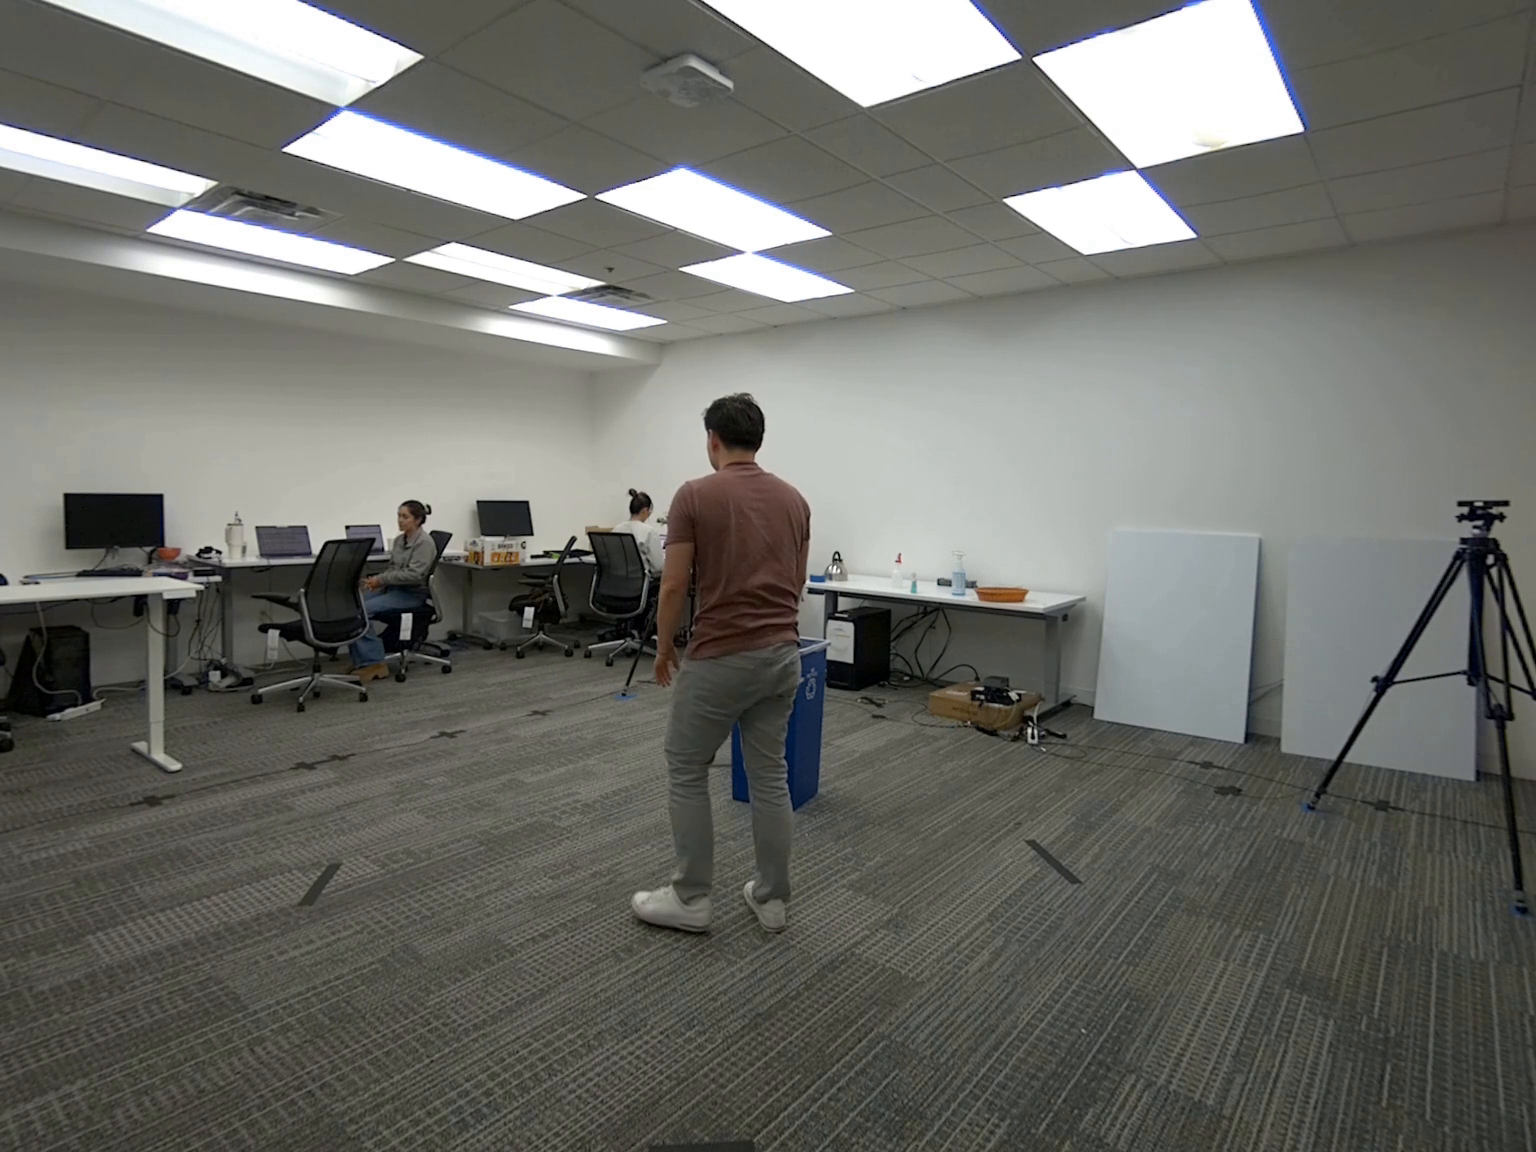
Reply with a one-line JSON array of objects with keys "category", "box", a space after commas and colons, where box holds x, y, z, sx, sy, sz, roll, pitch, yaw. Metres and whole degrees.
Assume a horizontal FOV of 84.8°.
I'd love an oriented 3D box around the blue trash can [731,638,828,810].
[{"category": "blue trash can", "box": [0.034, 0.647, 3.885, 0.389, 0.712, 0.364, 3, 3, 28]}]
